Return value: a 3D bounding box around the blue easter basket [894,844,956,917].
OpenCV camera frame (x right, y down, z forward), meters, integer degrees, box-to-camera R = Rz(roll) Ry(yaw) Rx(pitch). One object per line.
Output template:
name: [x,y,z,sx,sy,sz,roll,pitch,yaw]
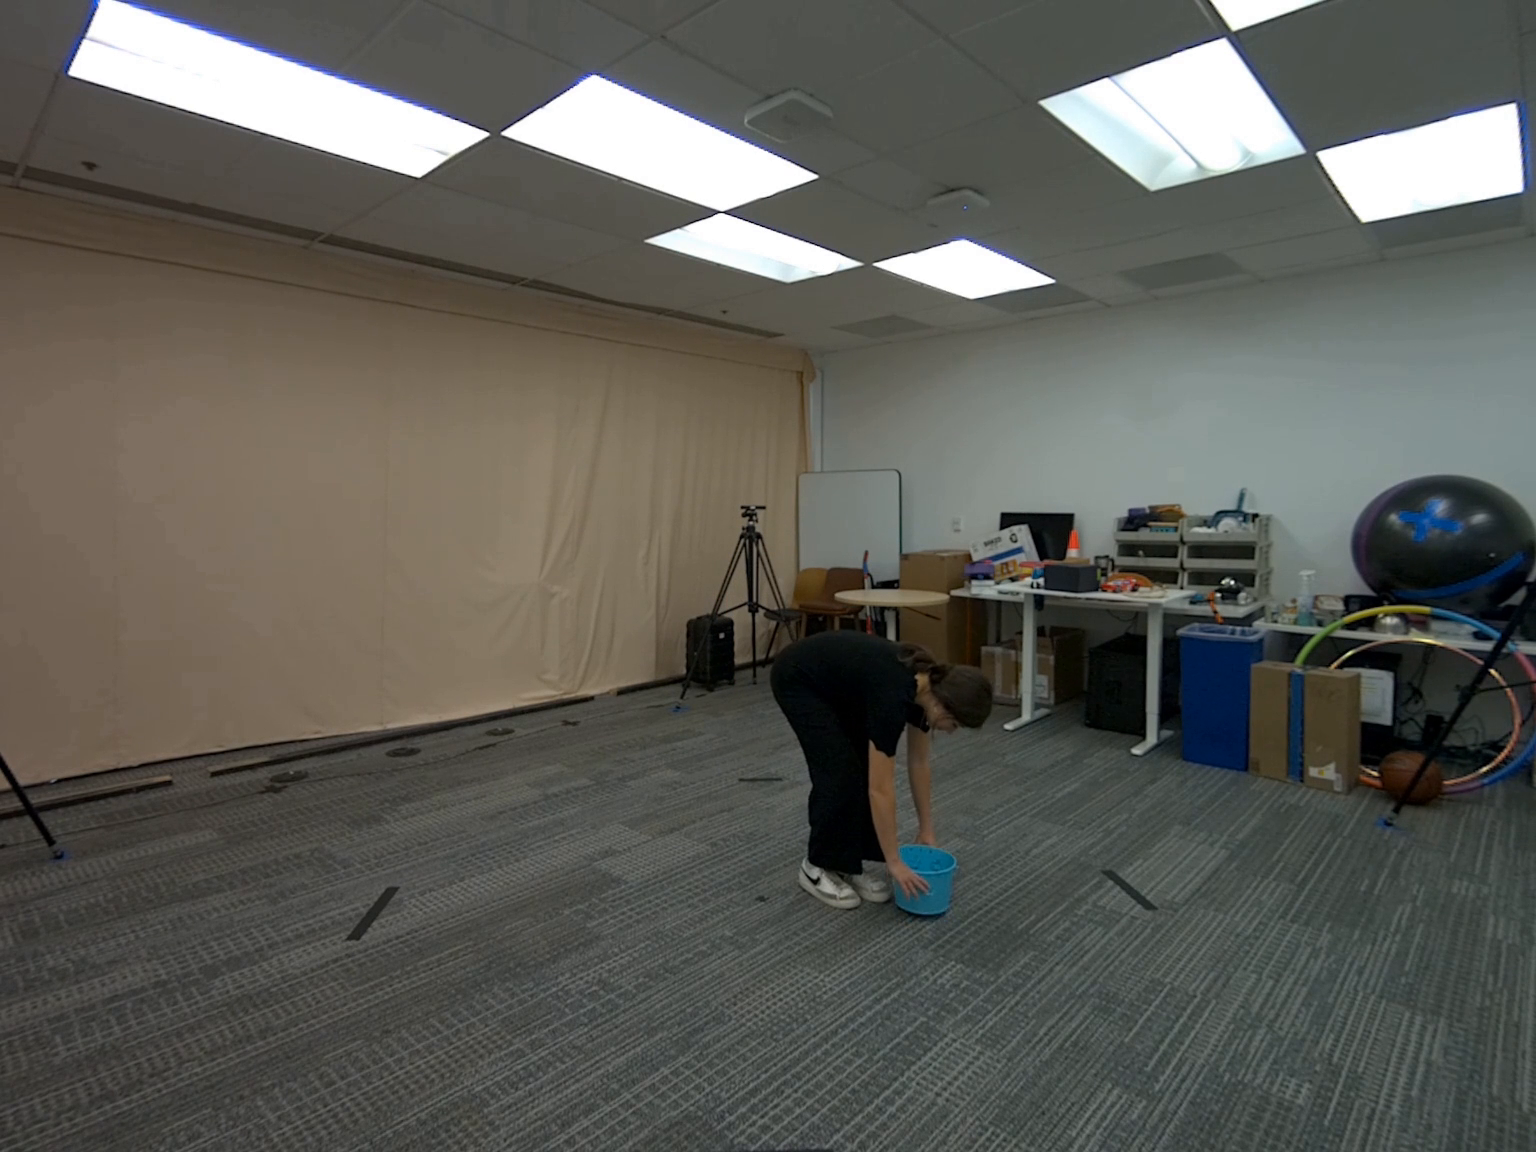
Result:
blue easter basket: [0.542,1.041,2.894,0.243,0.155,0.244,-1,5,-2]
